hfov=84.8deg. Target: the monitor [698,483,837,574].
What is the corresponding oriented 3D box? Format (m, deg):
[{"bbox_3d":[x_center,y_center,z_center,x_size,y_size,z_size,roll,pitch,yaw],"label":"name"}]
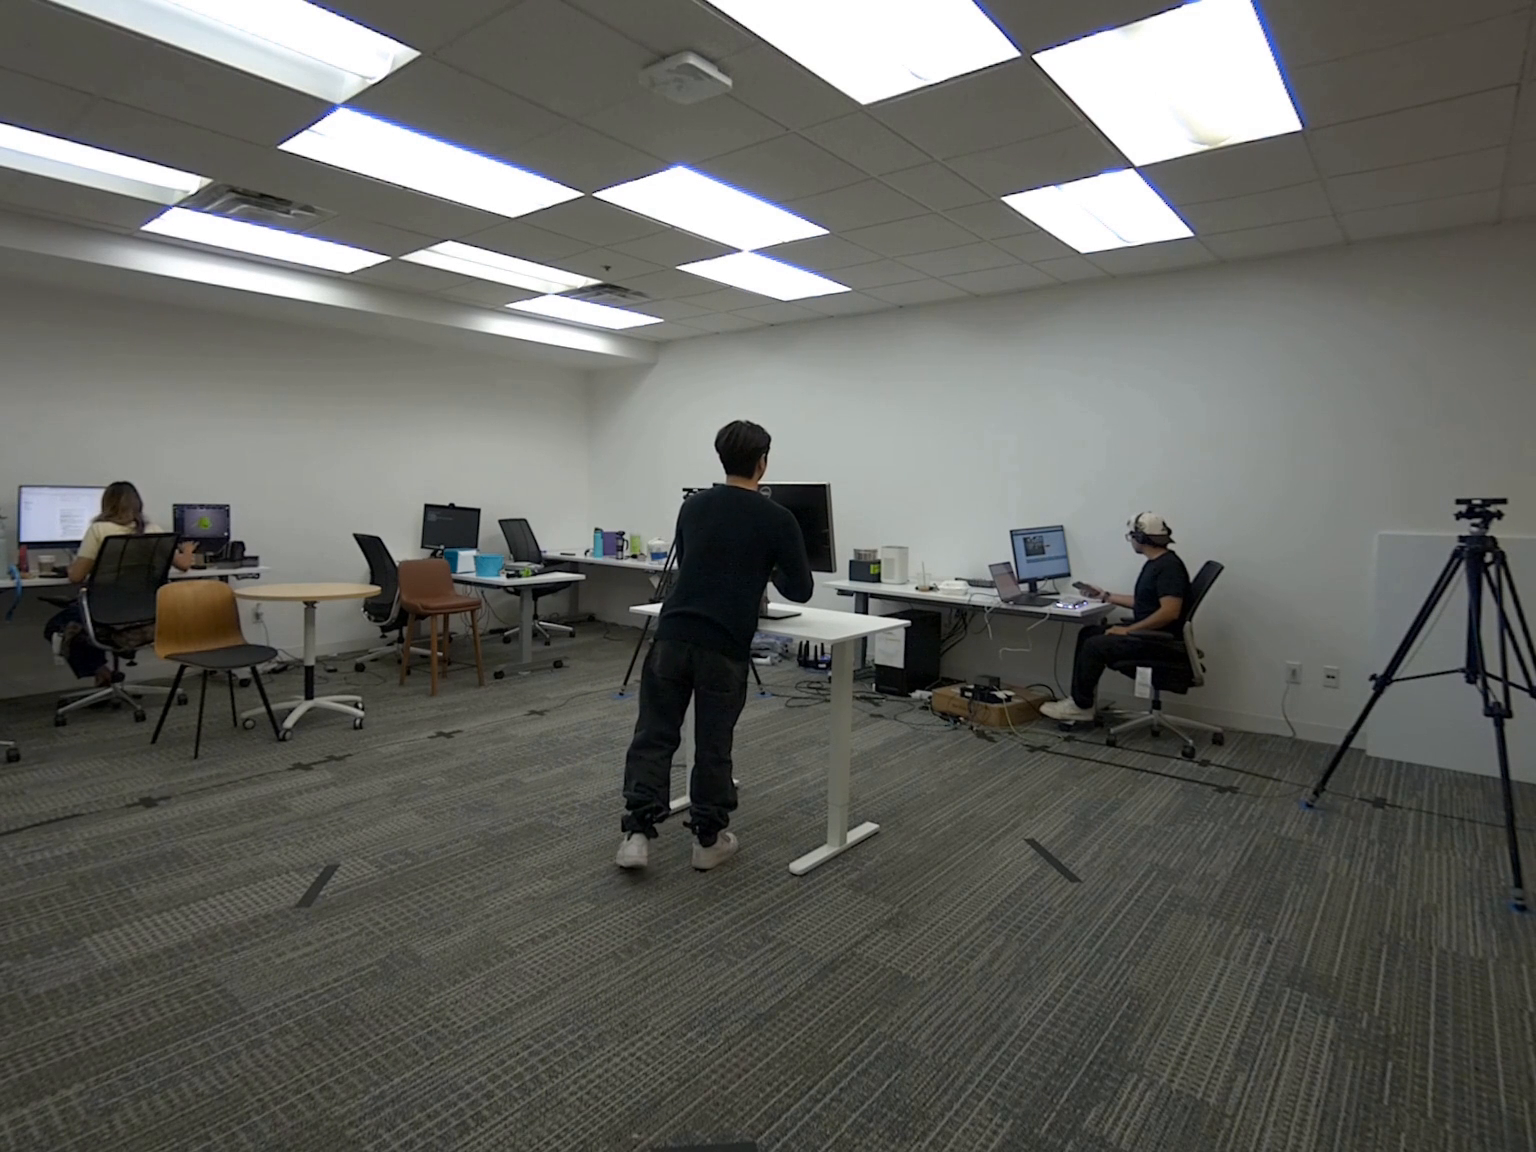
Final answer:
[{"bbox_3d":[-0.008,-0.115,3.477,0.547,0.517,0.169,2,-3,36],"label":"monitor"}]
